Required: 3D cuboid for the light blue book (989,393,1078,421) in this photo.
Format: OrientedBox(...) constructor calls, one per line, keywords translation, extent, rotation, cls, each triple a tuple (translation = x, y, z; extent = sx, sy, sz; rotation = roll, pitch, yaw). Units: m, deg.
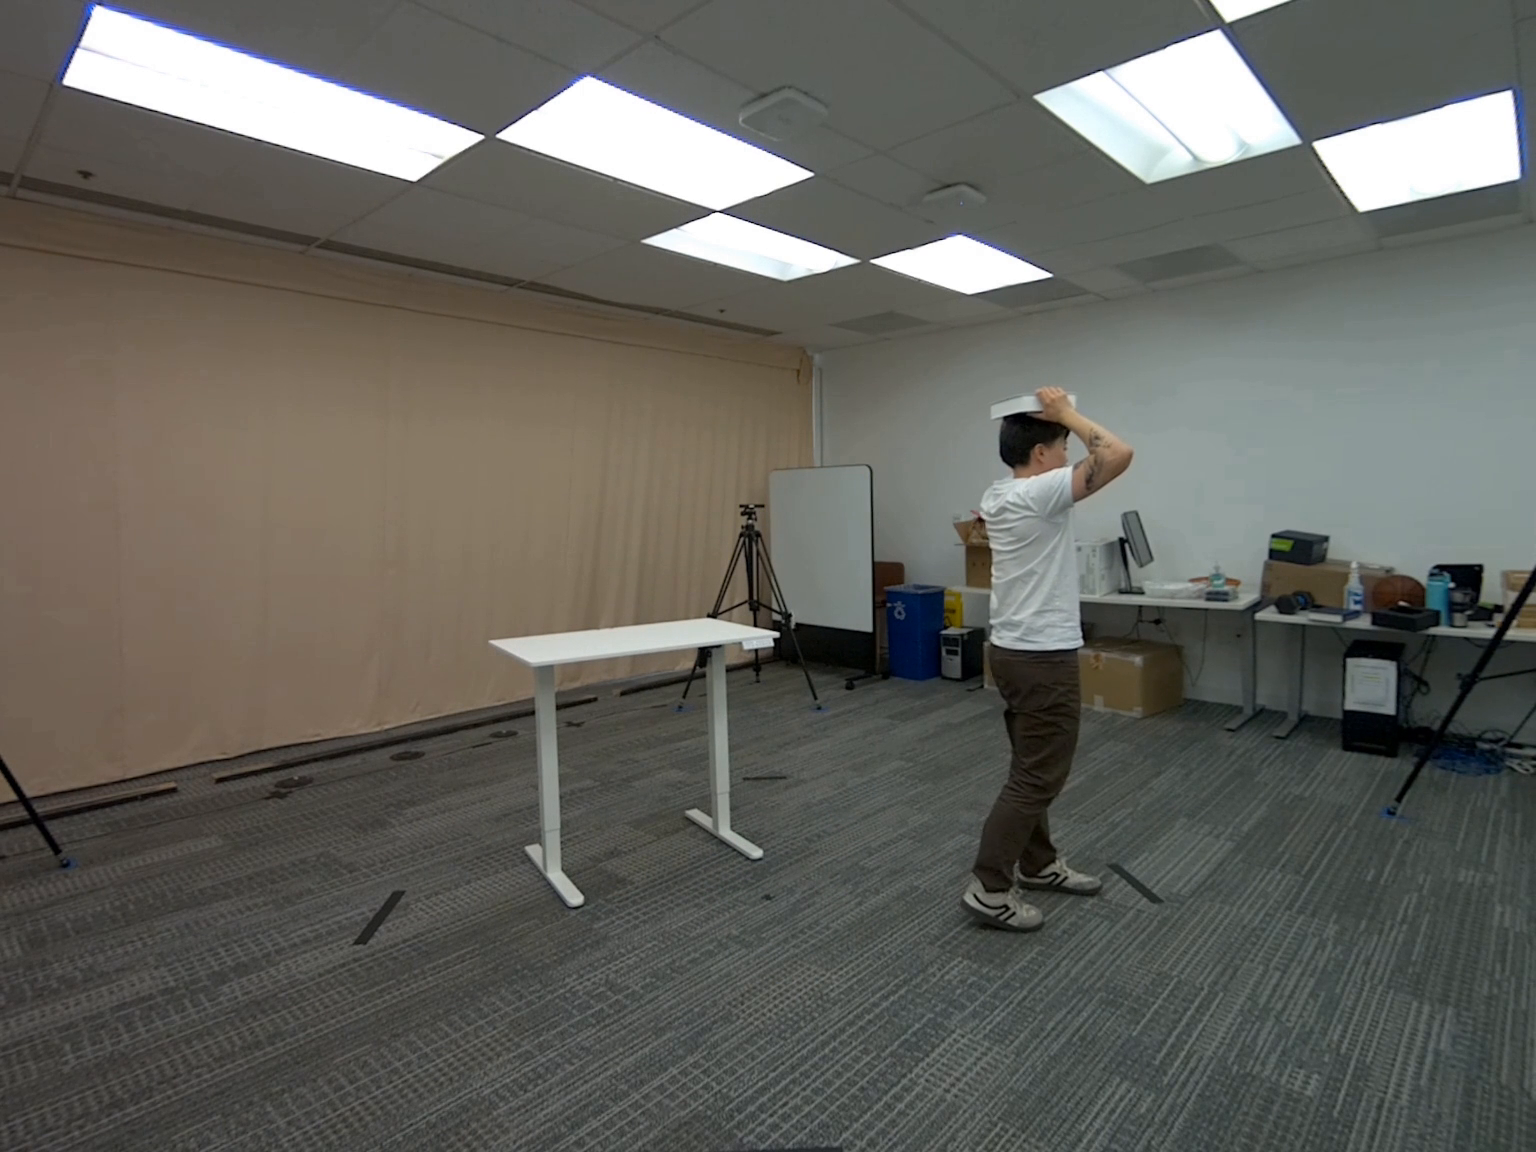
OrientedBox(translation=(0.899, -0.572, 2.852), extent=(0.190, 0.059, 0.263), rotation=(-4, 5, -7), cls="light blue book")
